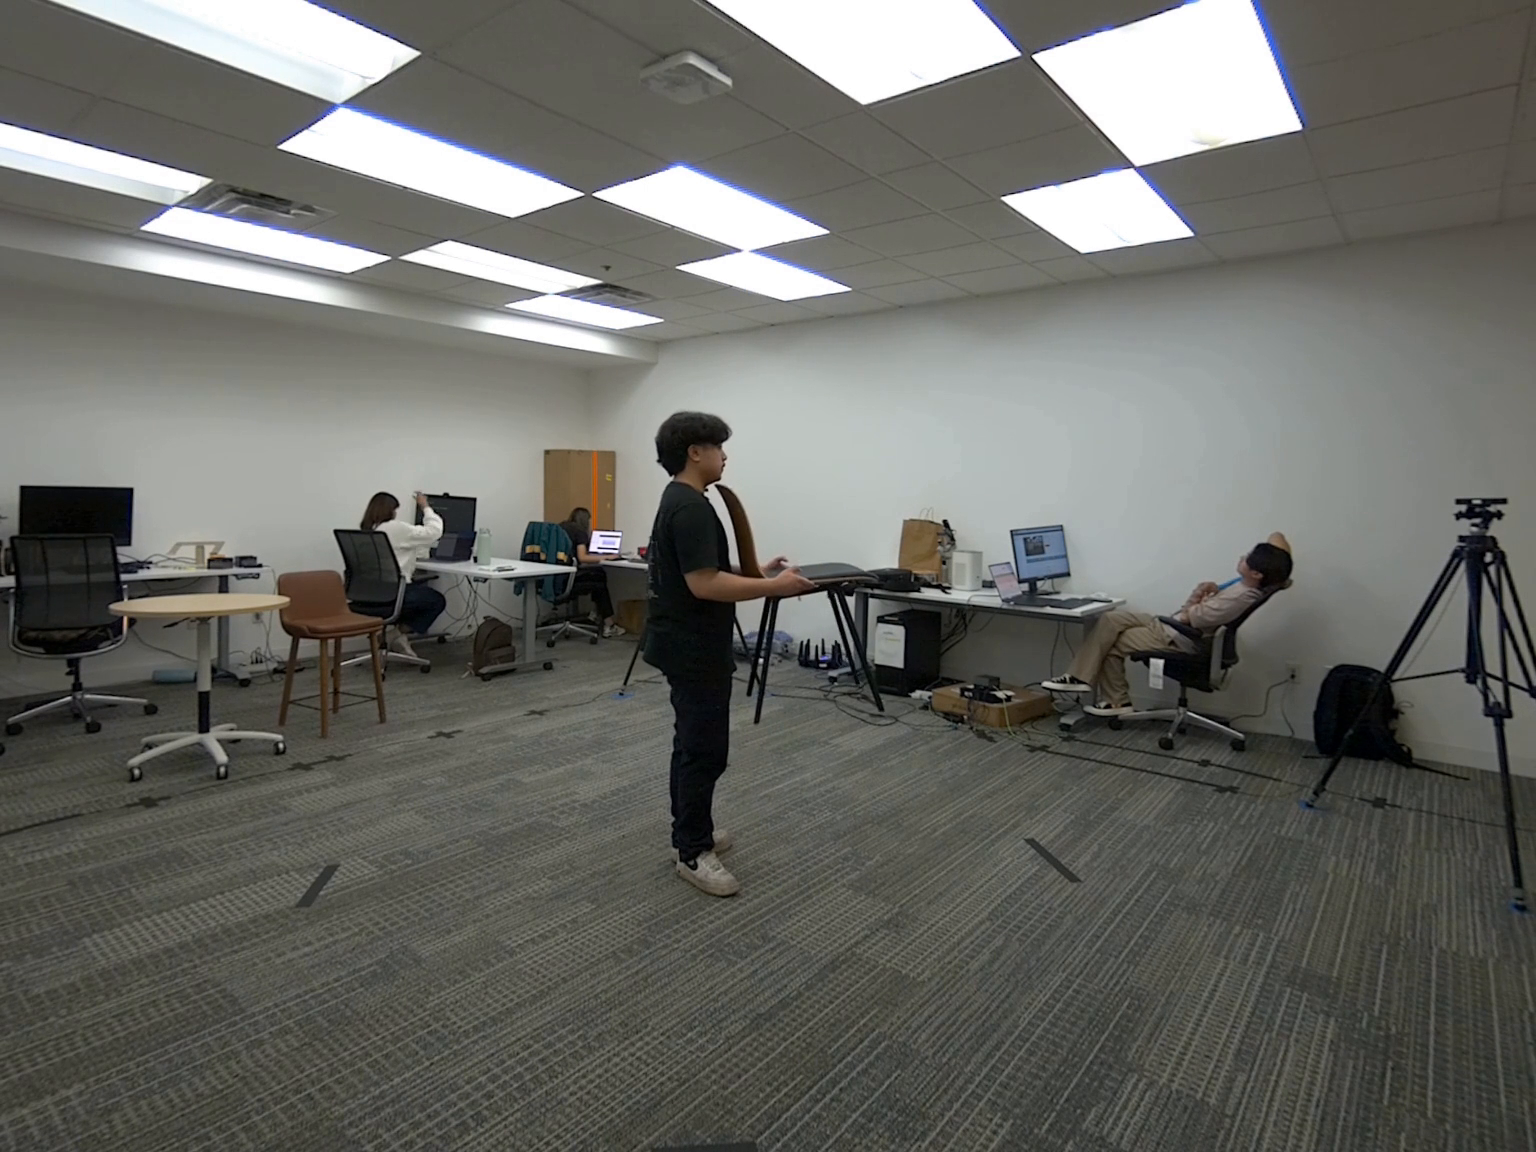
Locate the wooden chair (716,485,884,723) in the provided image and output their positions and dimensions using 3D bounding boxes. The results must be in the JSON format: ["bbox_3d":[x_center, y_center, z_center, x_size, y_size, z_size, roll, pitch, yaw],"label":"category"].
[{"bbox_3d":[0.116,0.054,3.156,0.522,0.875,0.480,-9,3,-2],"label":"wooden chair"}]
